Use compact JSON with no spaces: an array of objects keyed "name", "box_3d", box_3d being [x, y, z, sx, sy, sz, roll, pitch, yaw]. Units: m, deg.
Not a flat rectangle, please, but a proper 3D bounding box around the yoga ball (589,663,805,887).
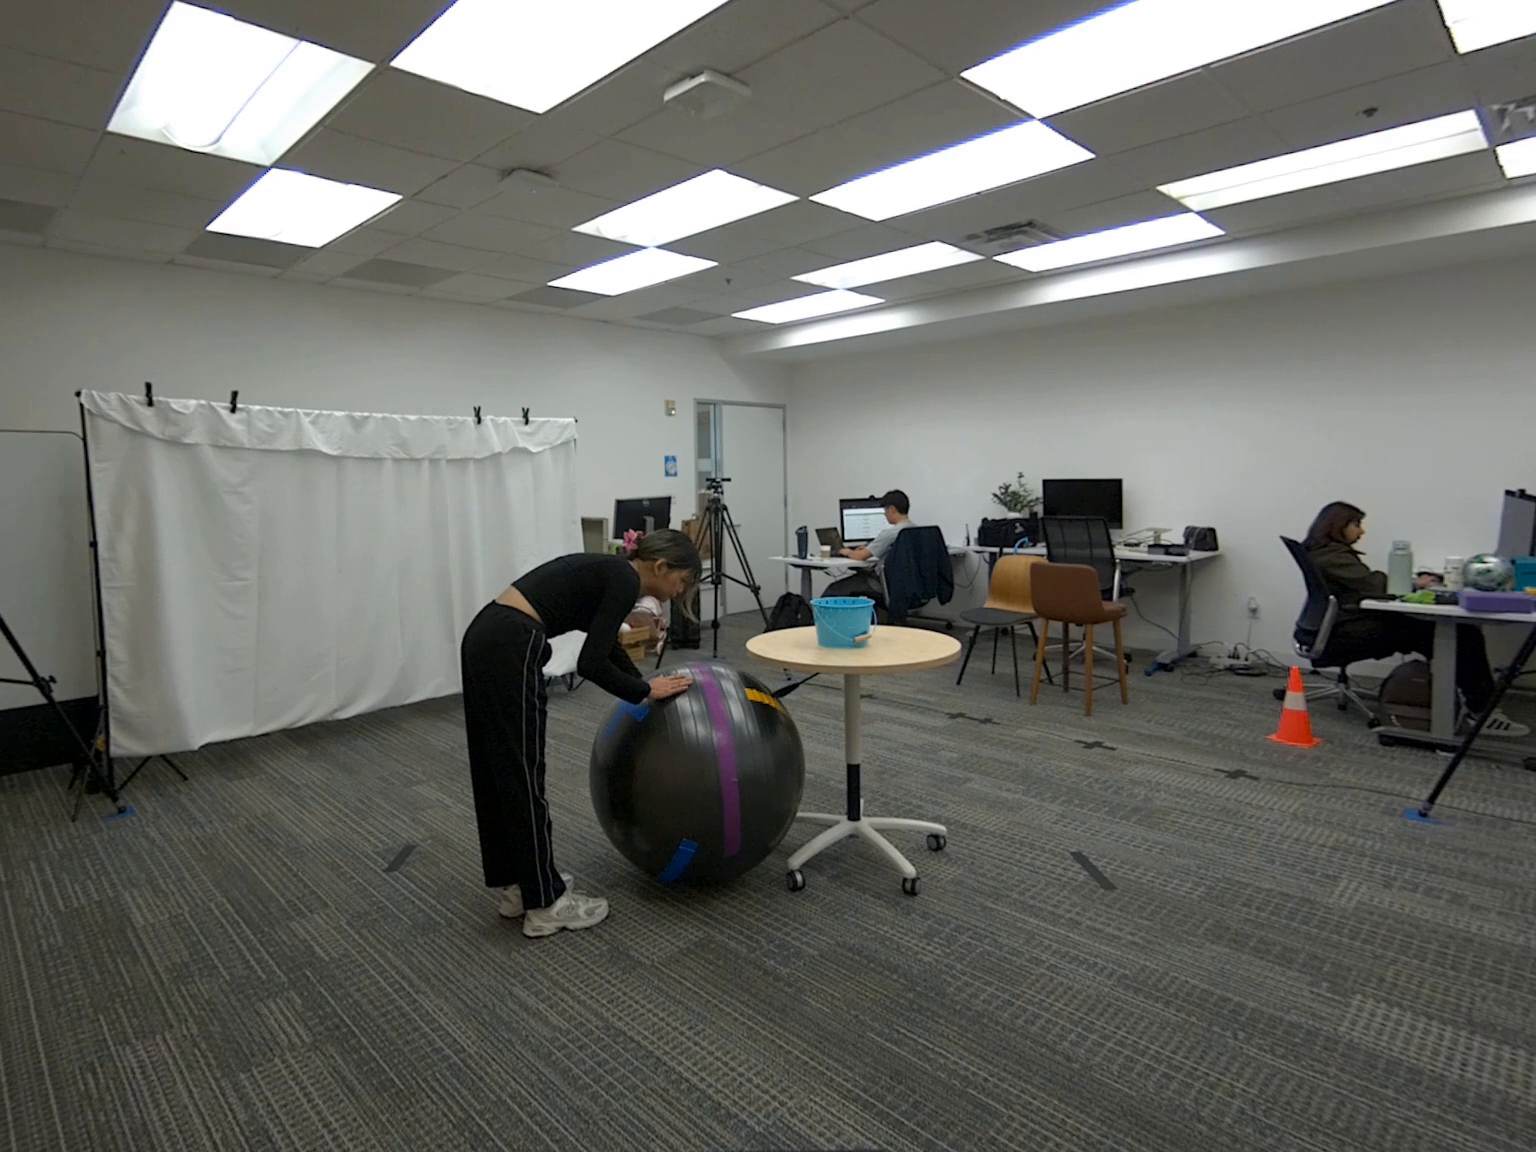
[{"name":"yoga ball","box_3d":[-0.262,0.688,3.012,0.757,0.755,0.762,-1,5,-2]}]
